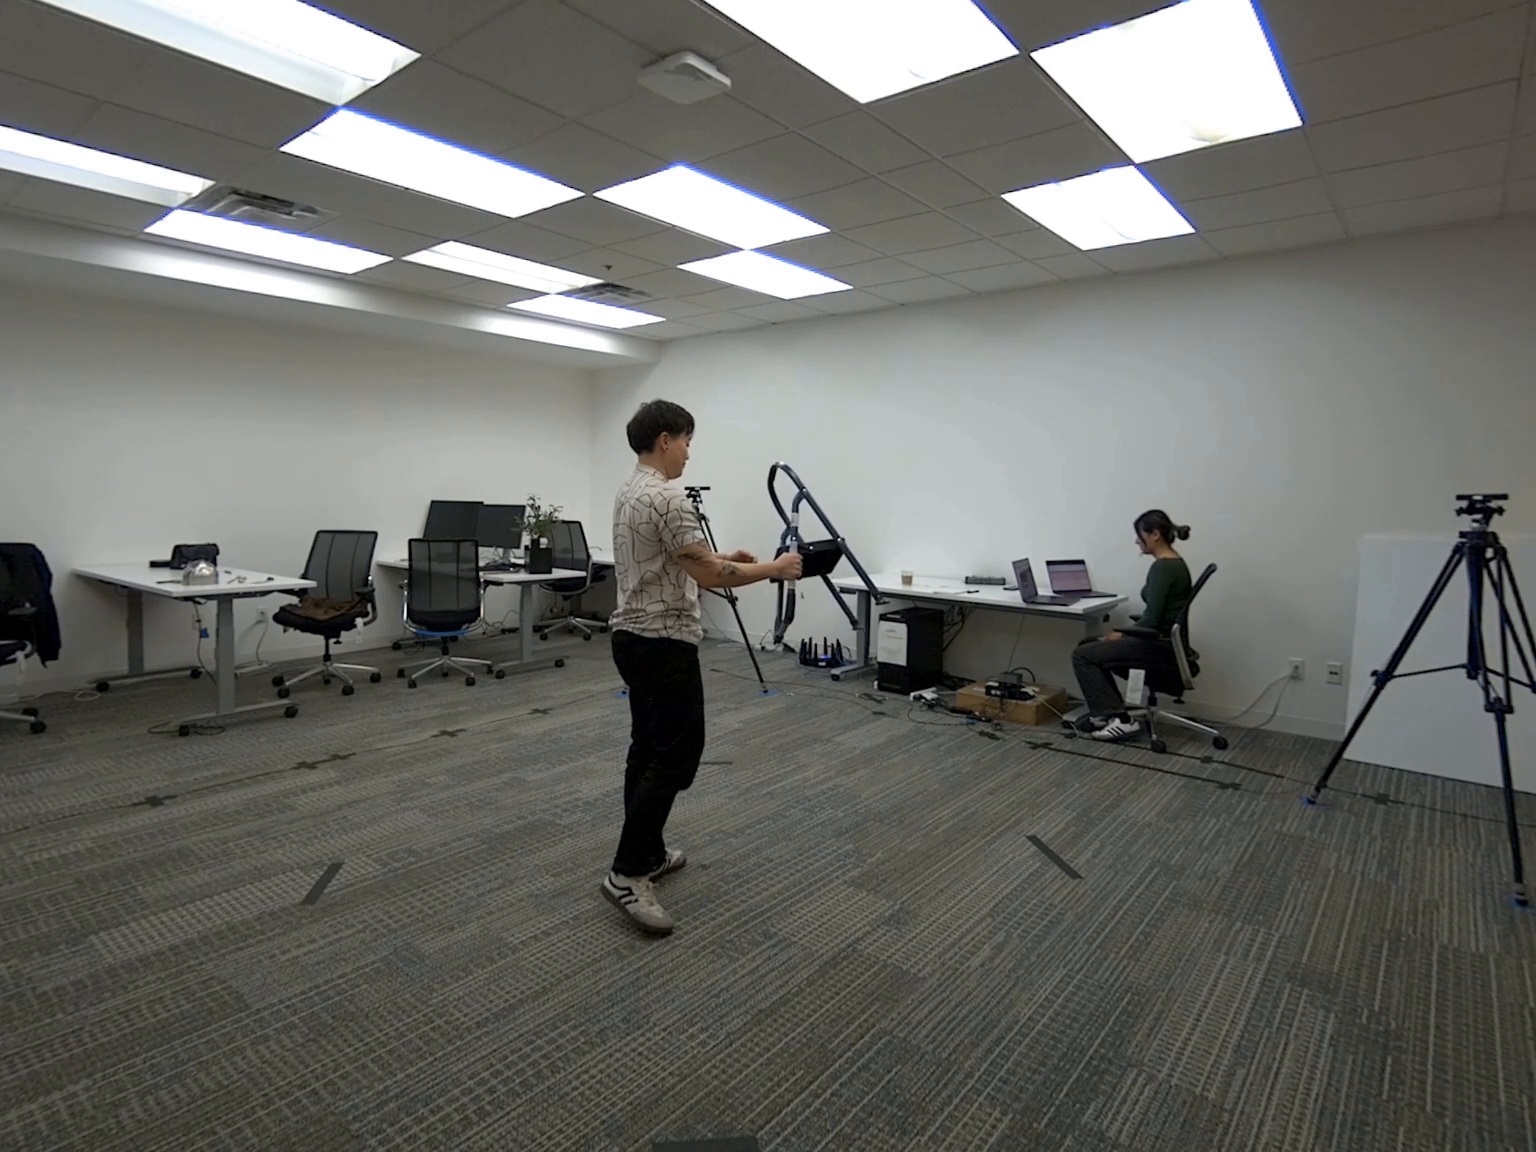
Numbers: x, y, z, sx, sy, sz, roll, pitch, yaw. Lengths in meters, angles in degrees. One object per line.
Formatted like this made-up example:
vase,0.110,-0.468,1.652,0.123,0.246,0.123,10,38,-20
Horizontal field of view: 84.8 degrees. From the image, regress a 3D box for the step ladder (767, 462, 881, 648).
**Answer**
step ladder,0.130,-0.110,3.094,0.347,0.618,0.425,-9,-17,-8
